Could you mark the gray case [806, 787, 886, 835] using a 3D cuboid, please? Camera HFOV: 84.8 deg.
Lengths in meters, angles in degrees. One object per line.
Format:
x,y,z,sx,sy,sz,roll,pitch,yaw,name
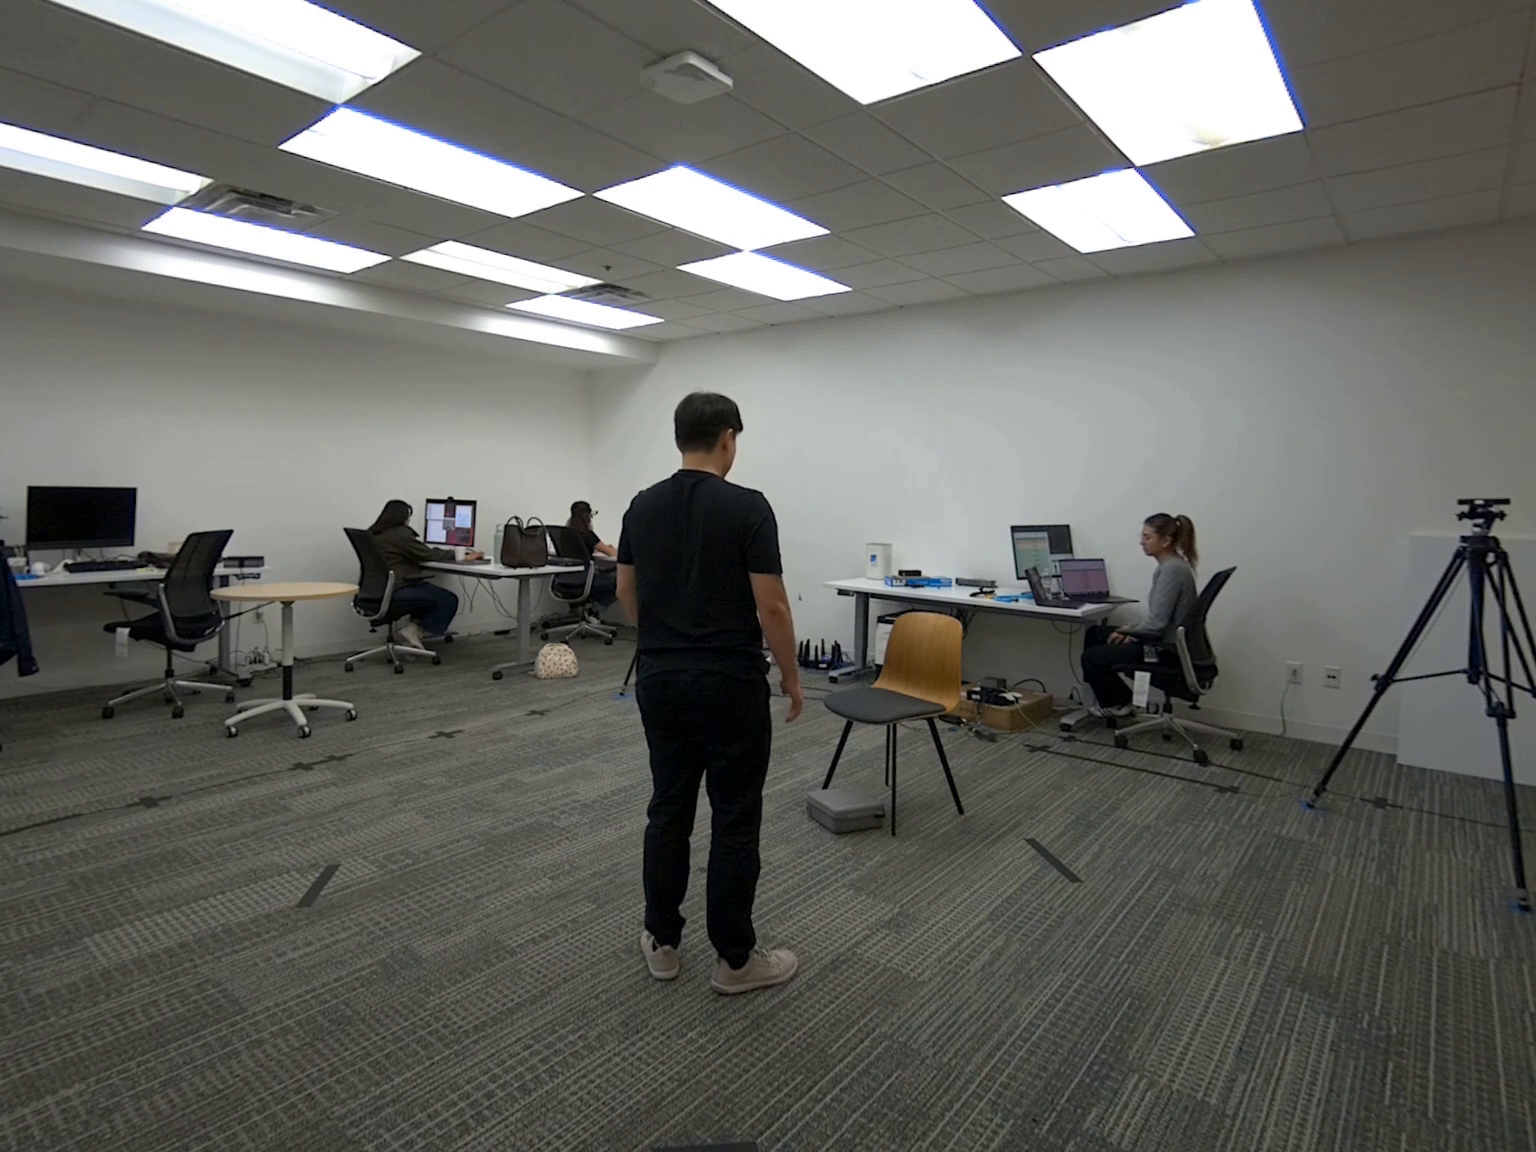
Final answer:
0.313,0.978,3.601,0.251,0.104,0.267,-2,5,-25,gray case
